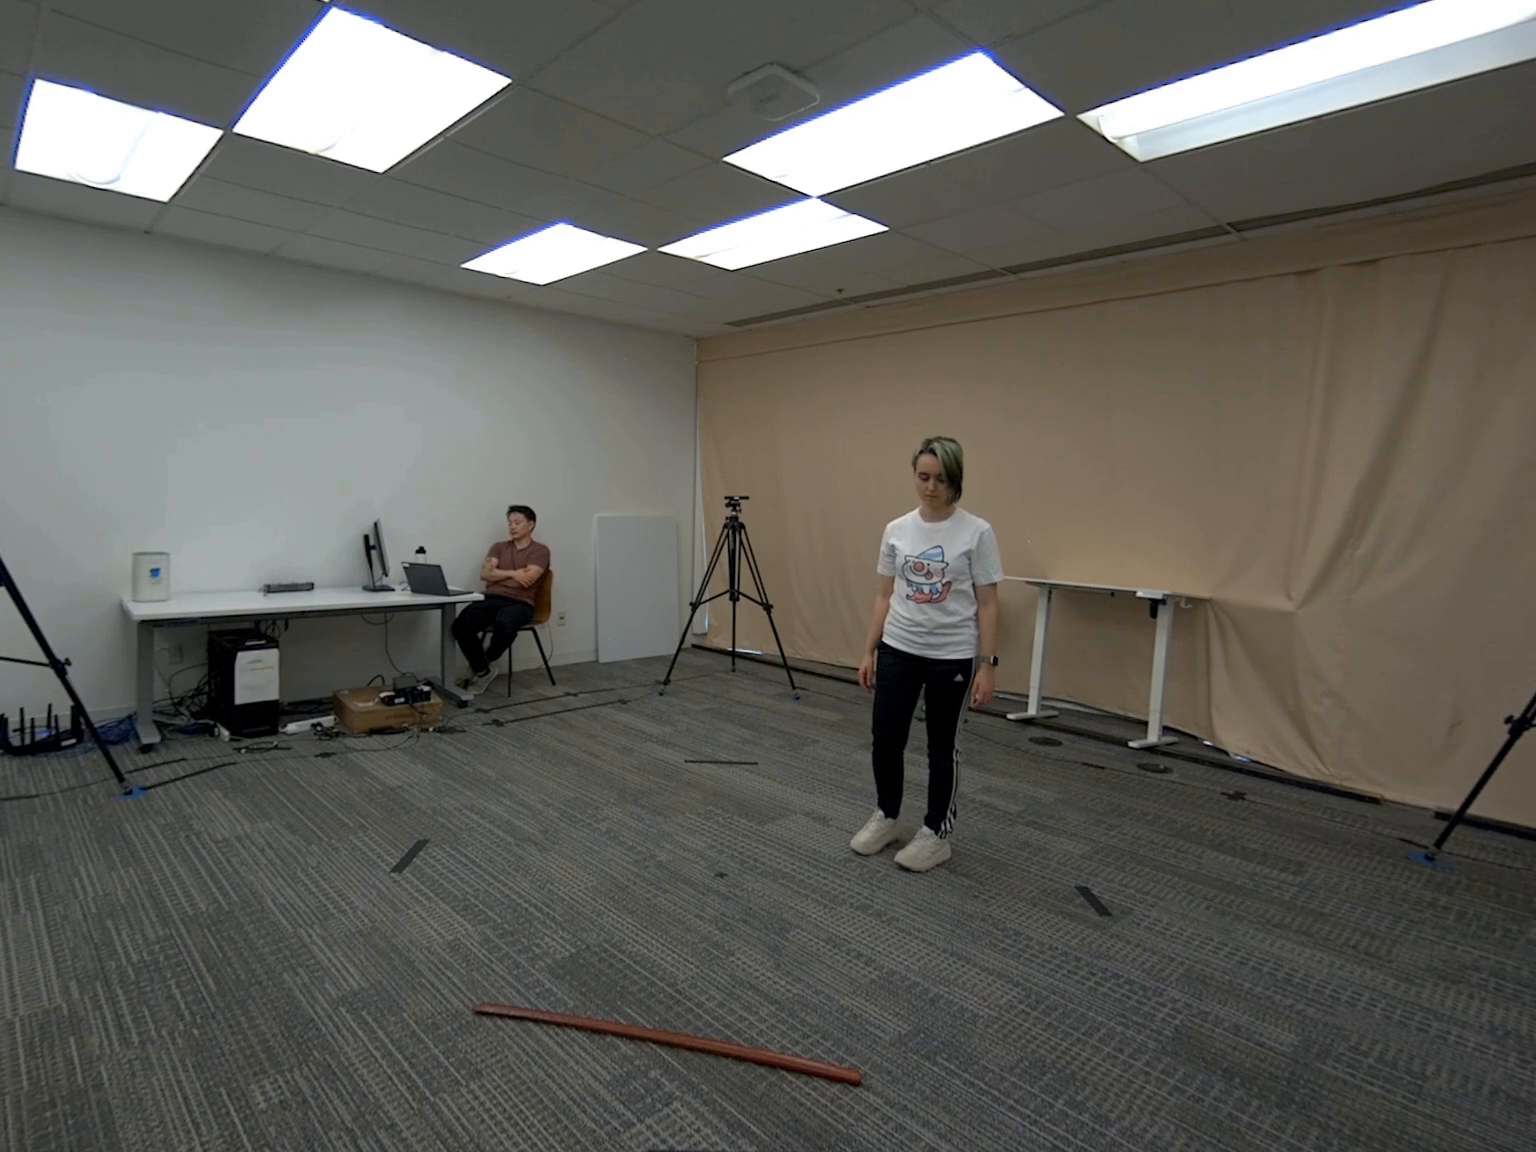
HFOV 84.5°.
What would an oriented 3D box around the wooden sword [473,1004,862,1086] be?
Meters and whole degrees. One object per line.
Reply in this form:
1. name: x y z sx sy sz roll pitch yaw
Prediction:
1. wooden sword: -0.271 1.165 2.151 1.036 0.024 0.051 2 4 13
